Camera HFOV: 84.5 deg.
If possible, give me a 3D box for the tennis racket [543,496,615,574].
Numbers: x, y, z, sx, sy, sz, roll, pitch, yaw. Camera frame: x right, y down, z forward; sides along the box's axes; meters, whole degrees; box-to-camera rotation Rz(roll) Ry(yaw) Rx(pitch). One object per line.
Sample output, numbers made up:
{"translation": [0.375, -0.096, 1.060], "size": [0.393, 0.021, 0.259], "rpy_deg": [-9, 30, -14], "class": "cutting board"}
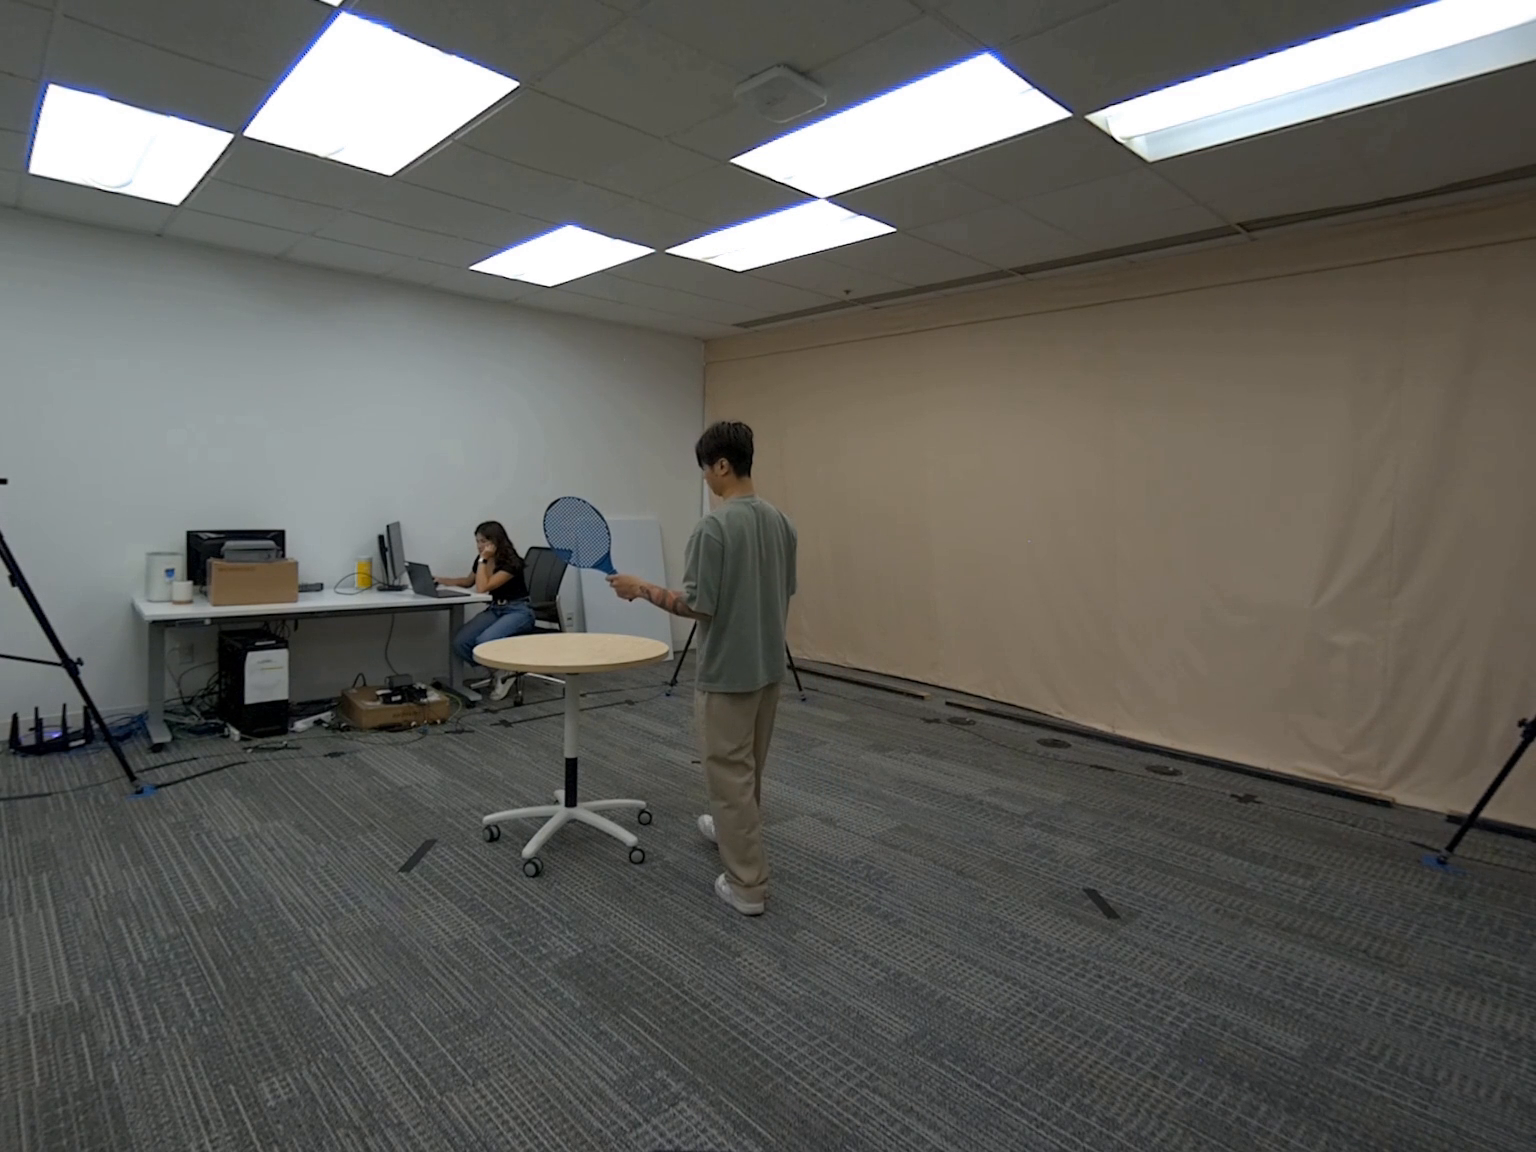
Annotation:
{"translation": [-0.597, -0.084, 2.861], "size": [0.214, 0.433, 0.032], "rpy_deg": [-40, 0, 10], "class": "tennis racket"}
